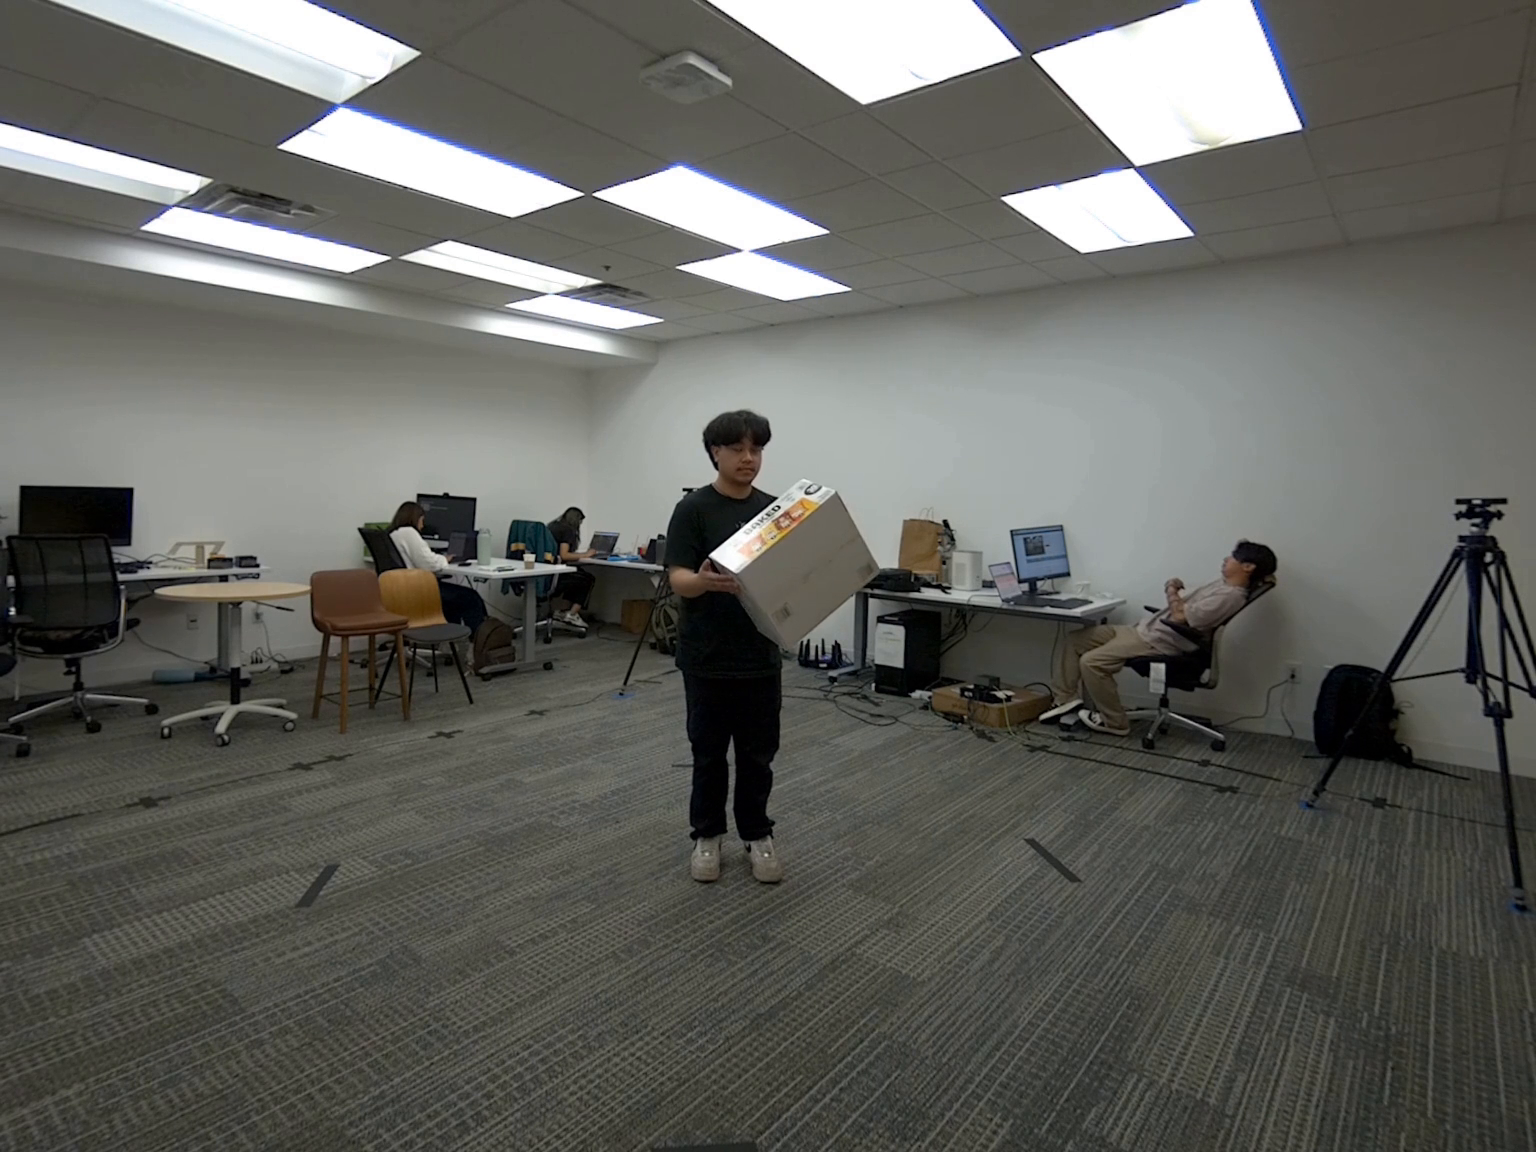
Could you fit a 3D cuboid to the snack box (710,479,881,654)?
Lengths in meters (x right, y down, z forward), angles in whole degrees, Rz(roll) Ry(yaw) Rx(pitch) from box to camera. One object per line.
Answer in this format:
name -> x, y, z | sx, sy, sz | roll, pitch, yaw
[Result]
snack box -> 0.084, -0.039, 2.700 | 0.404, 0.329, 0.213 | -40, 28, -13
